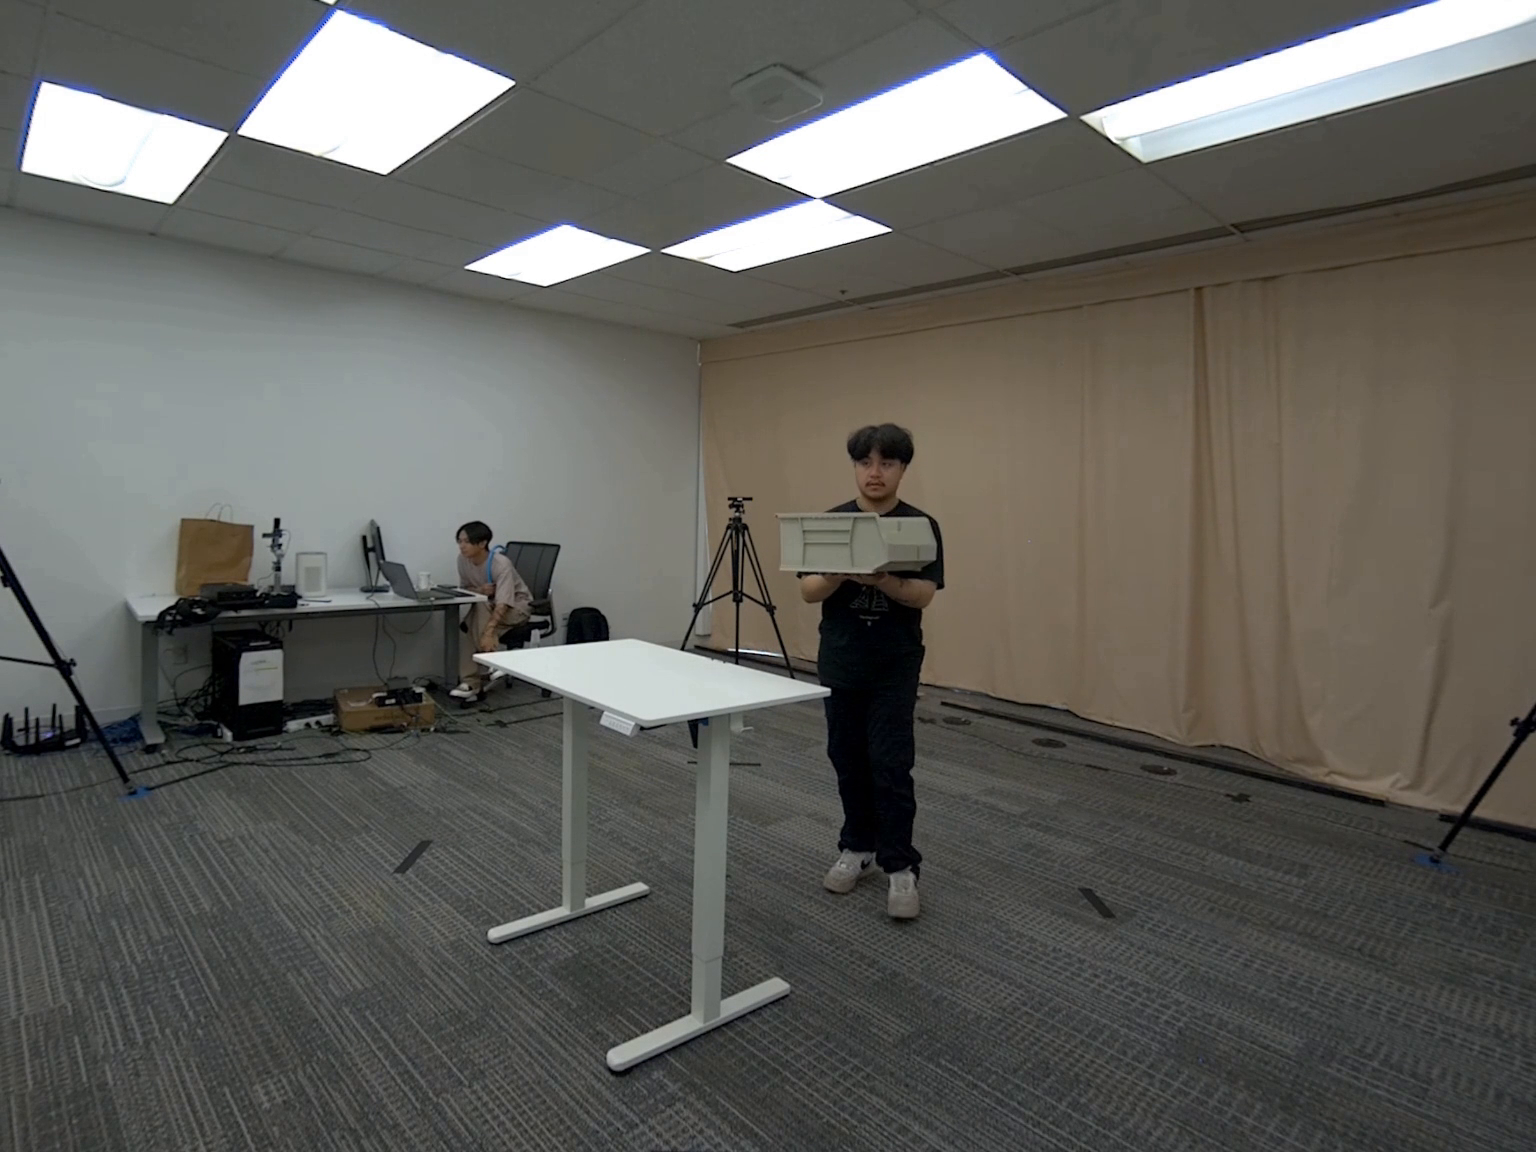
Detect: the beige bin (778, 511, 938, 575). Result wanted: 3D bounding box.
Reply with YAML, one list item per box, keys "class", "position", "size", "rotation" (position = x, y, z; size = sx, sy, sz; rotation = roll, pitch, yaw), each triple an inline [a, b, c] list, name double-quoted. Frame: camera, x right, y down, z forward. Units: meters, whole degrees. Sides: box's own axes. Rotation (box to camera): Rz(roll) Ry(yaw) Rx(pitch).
- class: "beige bin"
  position: [0.285, -0.098, 2.694]
  size: [0.386, 0.189, 0.413]
  rotation: [1, 3, 32]
